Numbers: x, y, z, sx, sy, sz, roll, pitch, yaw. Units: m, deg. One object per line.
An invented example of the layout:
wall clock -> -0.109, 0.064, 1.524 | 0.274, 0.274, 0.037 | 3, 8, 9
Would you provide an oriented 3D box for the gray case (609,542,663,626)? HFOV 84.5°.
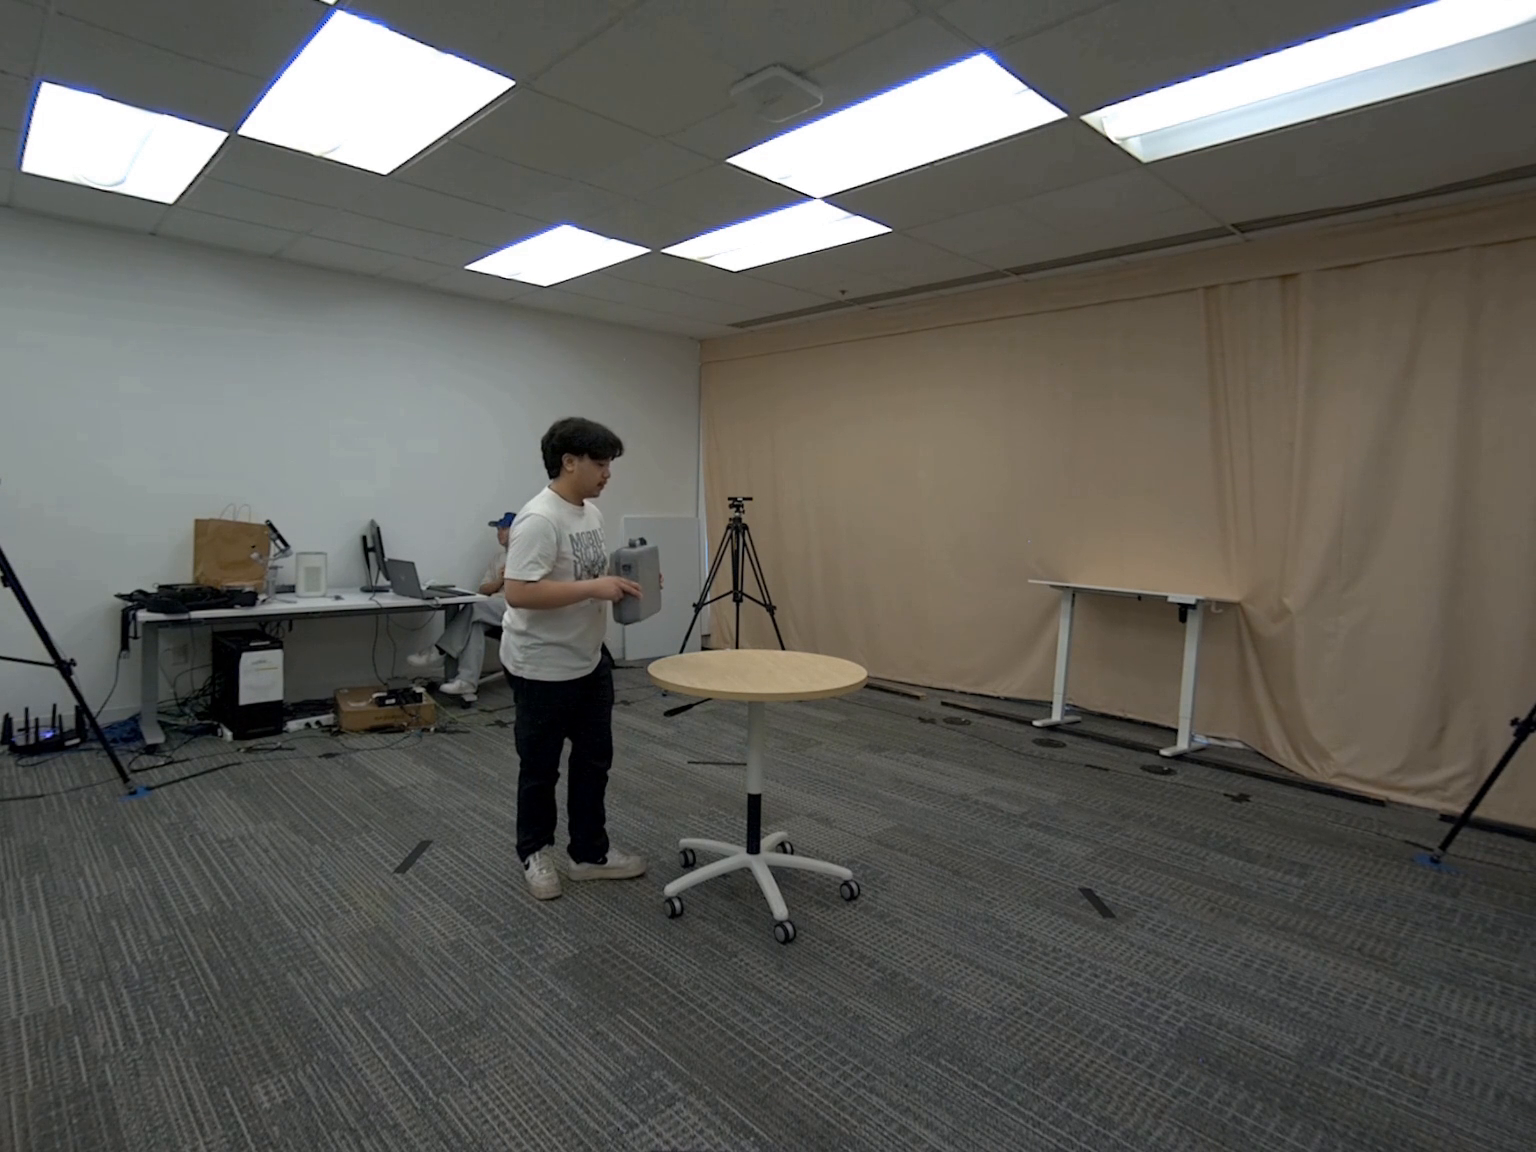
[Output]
gray case -> -0.459, 0.017, 2.900 | 0.105, 0.259, 0.257 | 1, 9, 8
